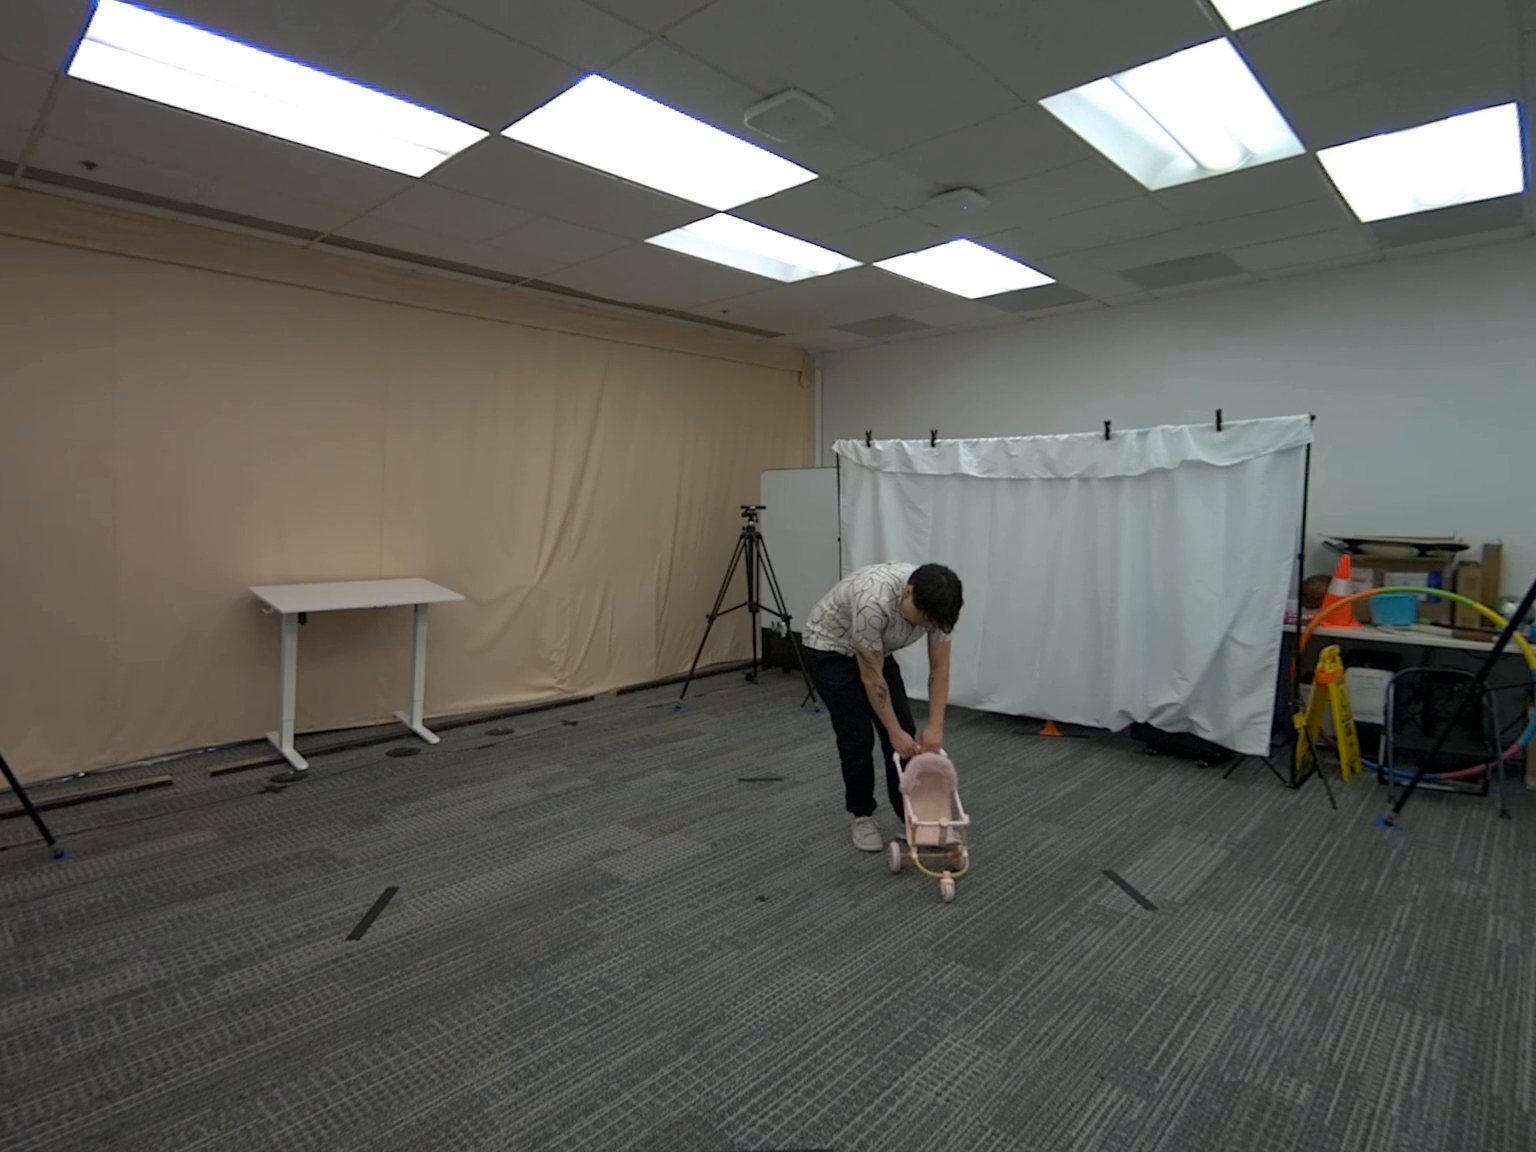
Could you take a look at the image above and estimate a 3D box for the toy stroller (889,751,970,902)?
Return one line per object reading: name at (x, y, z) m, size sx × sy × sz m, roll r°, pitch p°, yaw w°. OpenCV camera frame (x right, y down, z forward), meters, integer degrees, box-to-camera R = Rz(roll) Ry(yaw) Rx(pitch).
toy stroller at (0.610, 0.901, 3.138) m, size 0.282 × 0.539 × 0.338 m, roll 0°, pitch -13°, yaw 0°
